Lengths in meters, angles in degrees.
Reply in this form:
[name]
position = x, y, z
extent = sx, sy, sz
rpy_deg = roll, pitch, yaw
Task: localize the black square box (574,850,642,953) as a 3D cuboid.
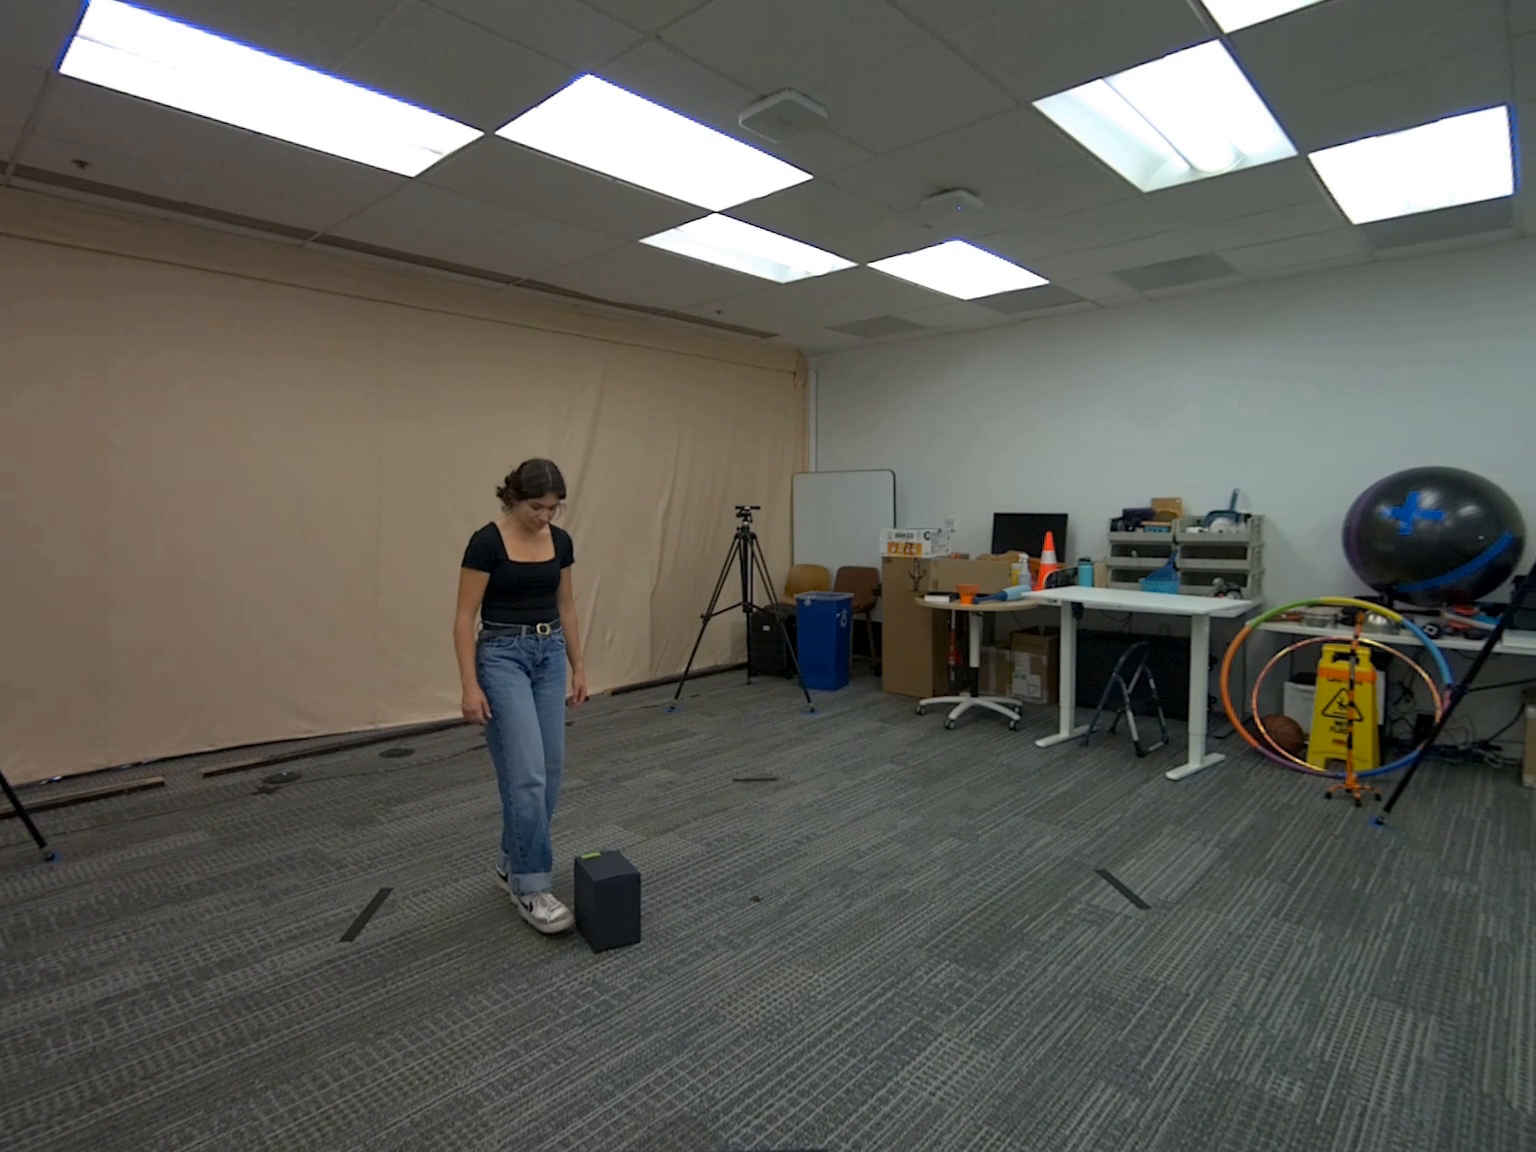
[black square box]
position = -0.525, 1.045, 2.740
extent = 0.152, 0.227, 0.223
rpy_deg = -1, 3, -30
